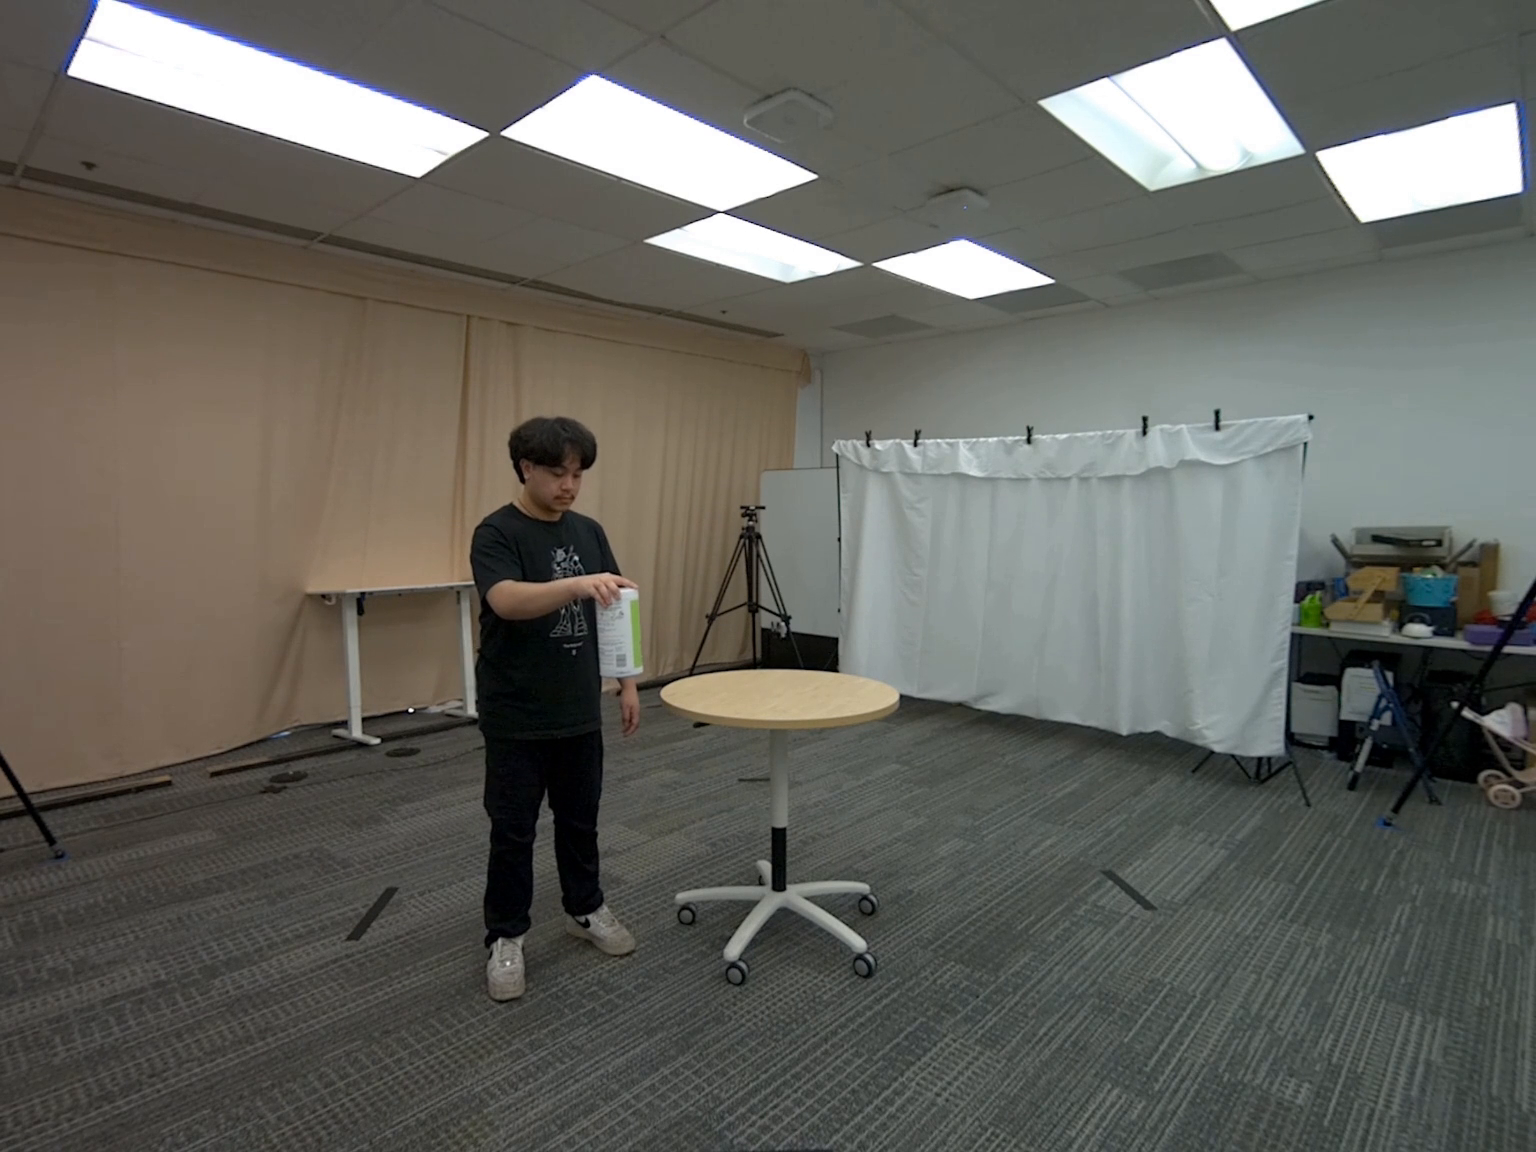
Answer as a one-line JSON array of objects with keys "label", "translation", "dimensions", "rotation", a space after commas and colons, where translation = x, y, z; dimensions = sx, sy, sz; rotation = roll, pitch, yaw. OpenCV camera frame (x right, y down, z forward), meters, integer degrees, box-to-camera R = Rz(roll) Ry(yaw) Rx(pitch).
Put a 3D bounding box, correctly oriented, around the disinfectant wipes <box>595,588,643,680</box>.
[{"label": "disinfectant wipes", "translation": [-0.368, 0.143, 2.103], "dimensions": [0.118, 0.217, 0.118], "rotation": [-2, 0, -2]}]
